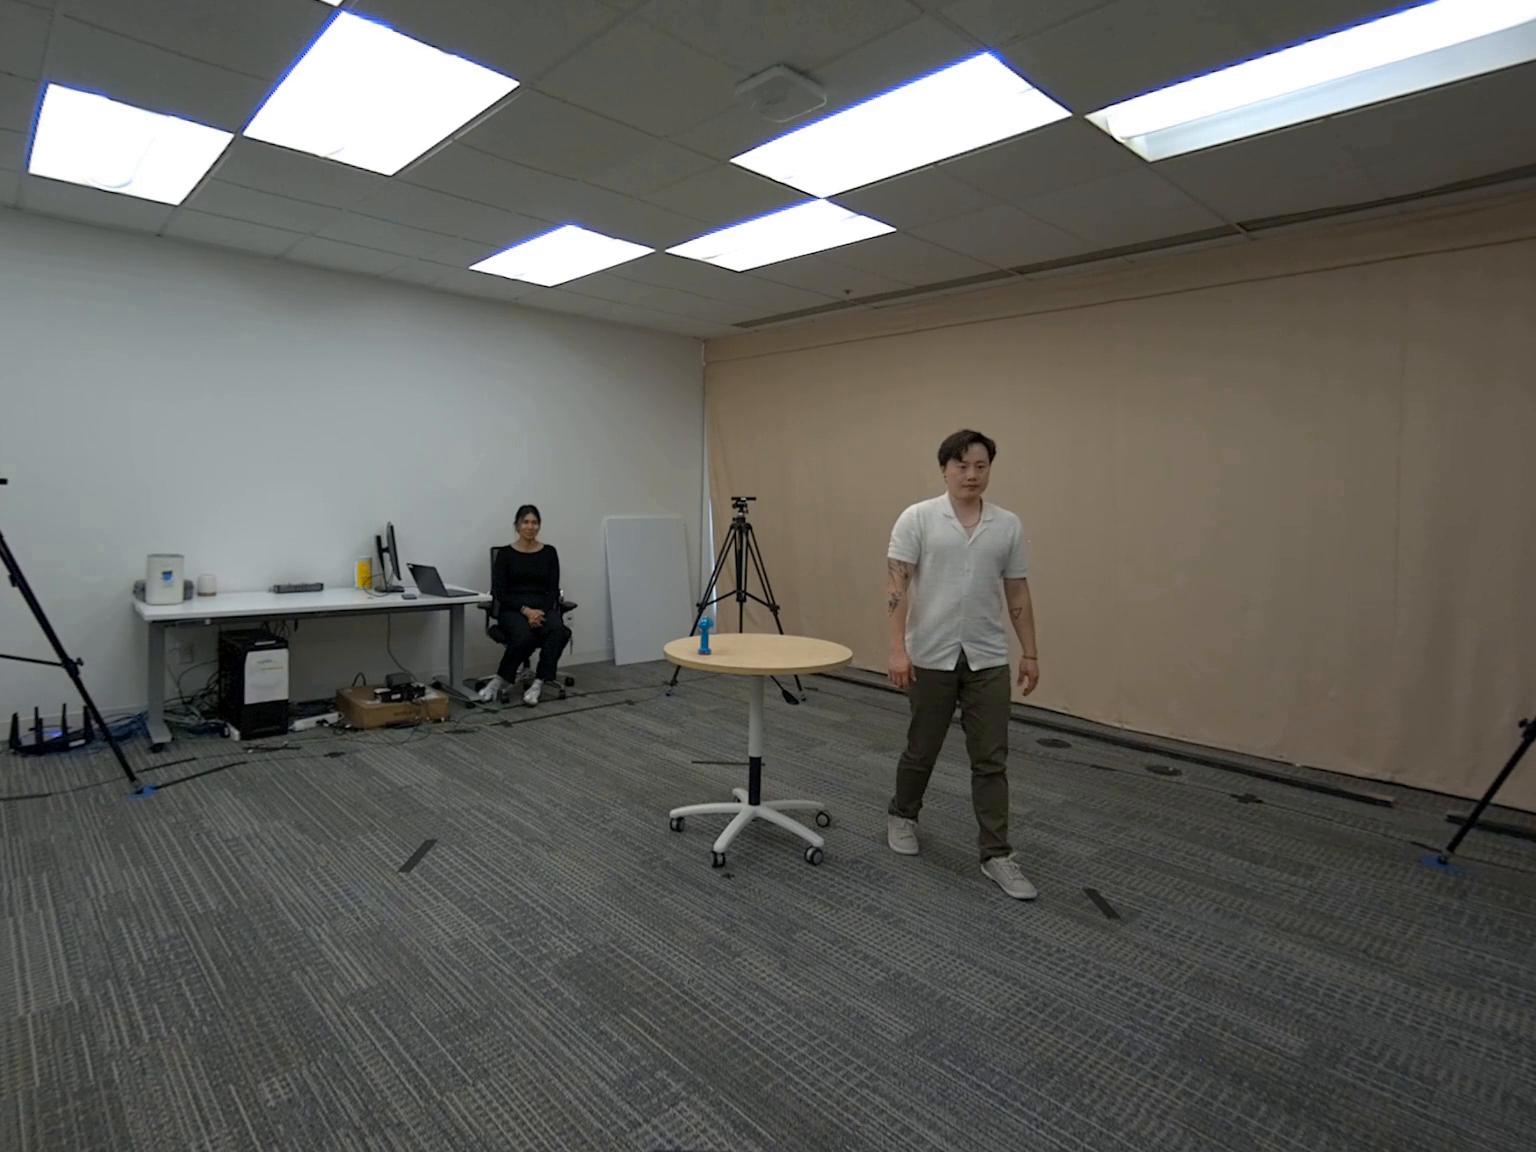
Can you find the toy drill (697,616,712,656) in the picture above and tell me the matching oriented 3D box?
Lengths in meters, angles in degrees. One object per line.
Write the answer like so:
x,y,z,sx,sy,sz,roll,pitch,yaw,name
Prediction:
-0.252,0.226,3.345,0.061,0.145,0.170,0,4,0,toy drill
